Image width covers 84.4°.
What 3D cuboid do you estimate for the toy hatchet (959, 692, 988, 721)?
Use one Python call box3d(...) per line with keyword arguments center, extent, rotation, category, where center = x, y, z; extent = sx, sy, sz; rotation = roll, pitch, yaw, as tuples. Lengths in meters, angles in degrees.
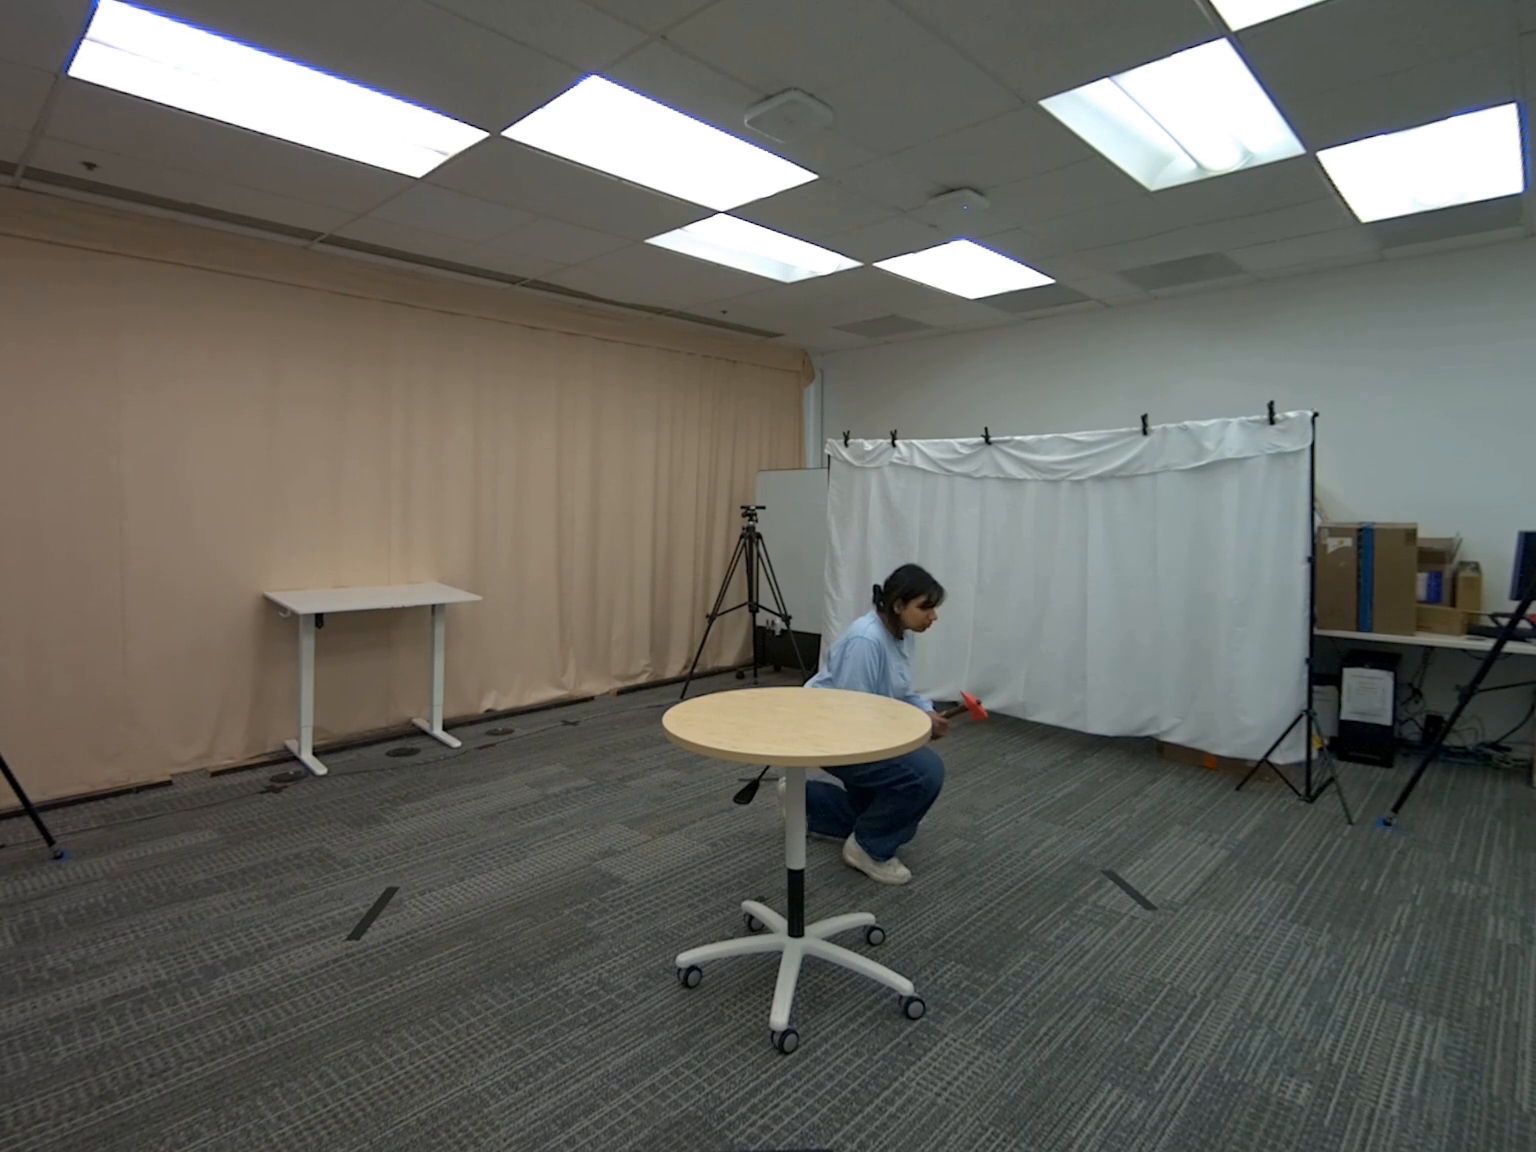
box3d(center=(0.712, 0.531, 3.098), extent=(0.132, 0.269, 0.029), rotation=(31, 40, 4), category="toy hatchet")
